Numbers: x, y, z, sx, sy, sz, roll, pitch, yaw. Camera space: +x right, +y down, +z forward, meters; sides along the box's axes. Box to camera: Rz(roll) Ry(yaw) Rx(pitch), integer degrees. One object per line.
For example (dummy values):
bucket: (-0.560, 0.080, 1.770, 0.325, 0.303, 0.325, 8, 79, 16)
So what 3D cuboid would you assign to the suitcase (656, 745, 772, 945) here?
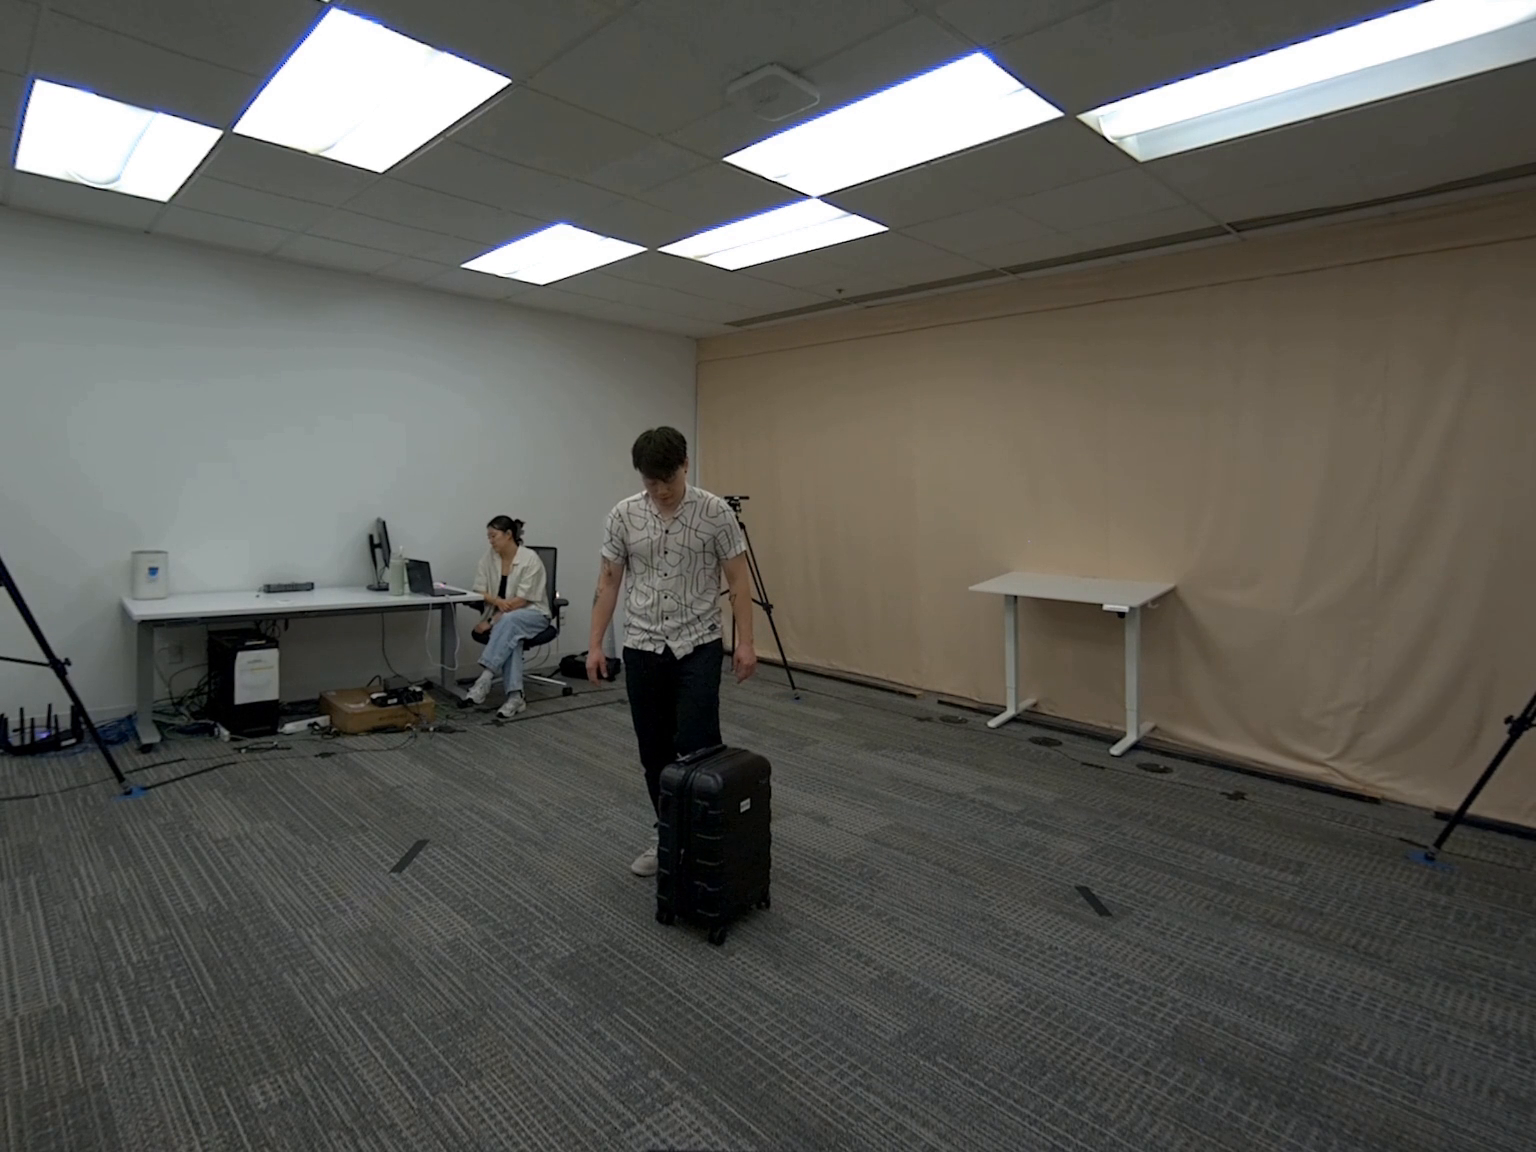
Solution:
suitcase: (-0.178, 0.856, 2.776, 0.254, 0.548, 0.368, 4, 5, 33)
